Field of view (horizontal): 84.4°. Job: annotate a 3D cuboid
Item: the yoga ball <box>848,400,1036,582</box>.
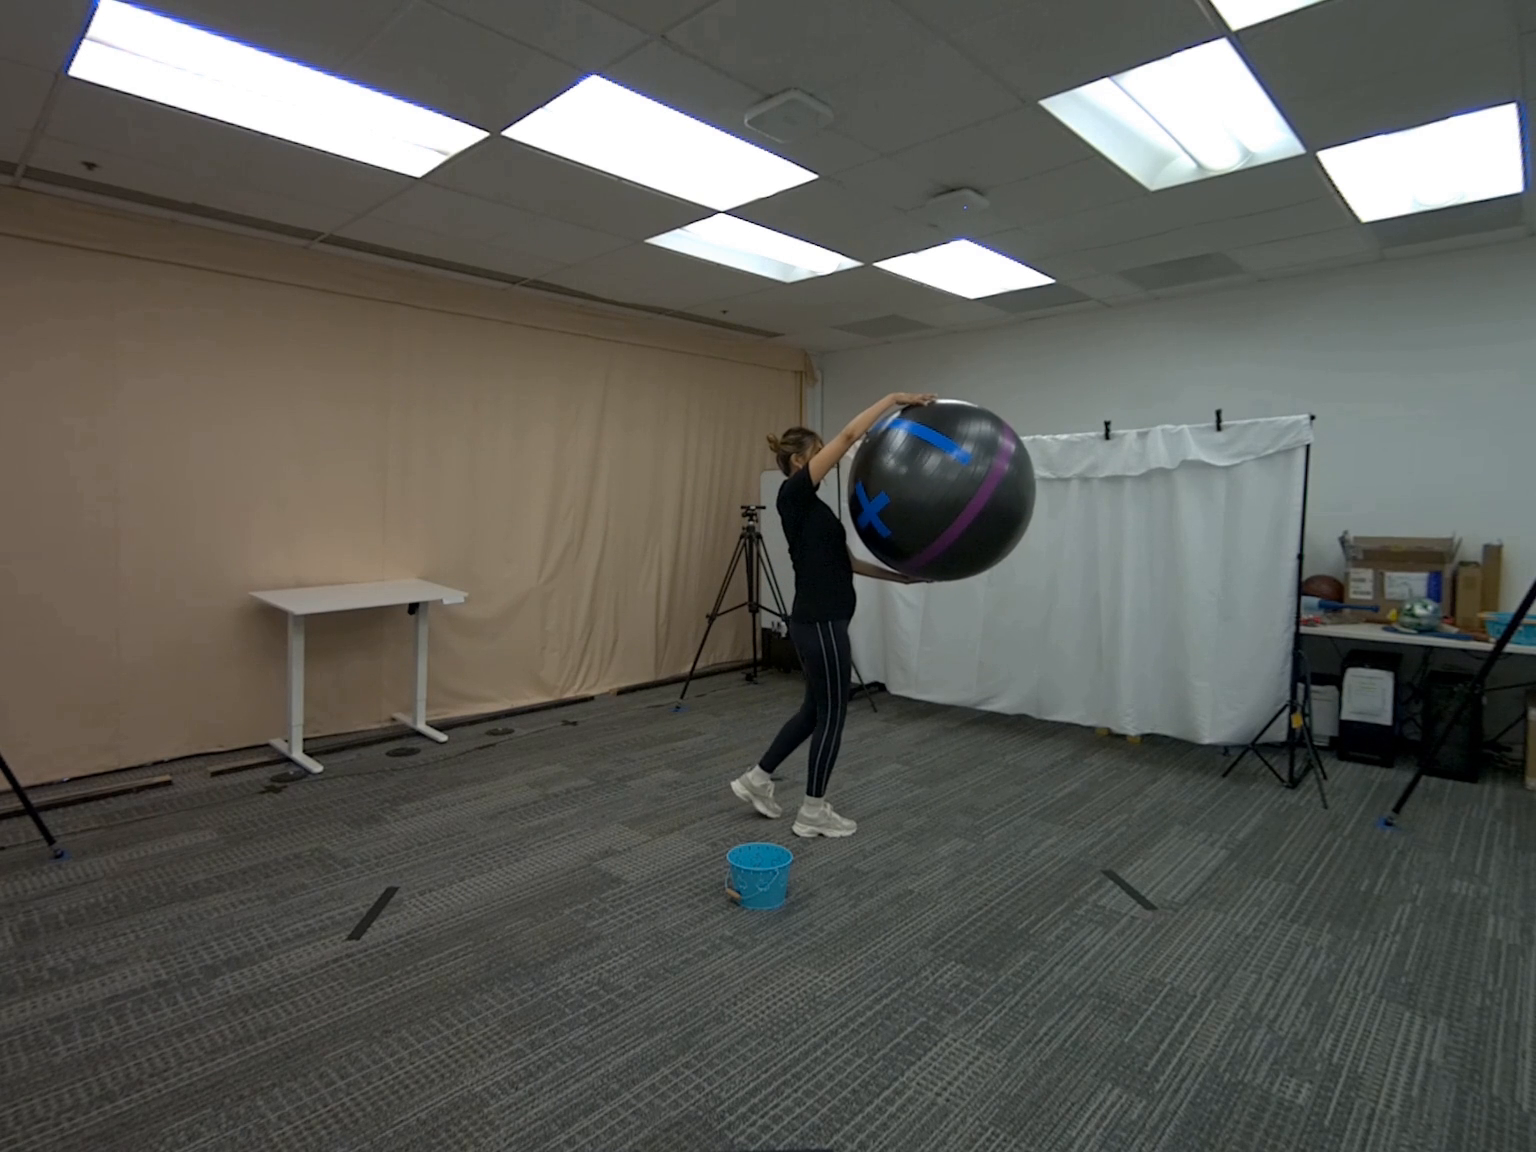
[{"bbox_3d":[0.725,-0.341,3.510,0.757,0.756,0.761,0,4,-2],"label":"yoga ball"}]
